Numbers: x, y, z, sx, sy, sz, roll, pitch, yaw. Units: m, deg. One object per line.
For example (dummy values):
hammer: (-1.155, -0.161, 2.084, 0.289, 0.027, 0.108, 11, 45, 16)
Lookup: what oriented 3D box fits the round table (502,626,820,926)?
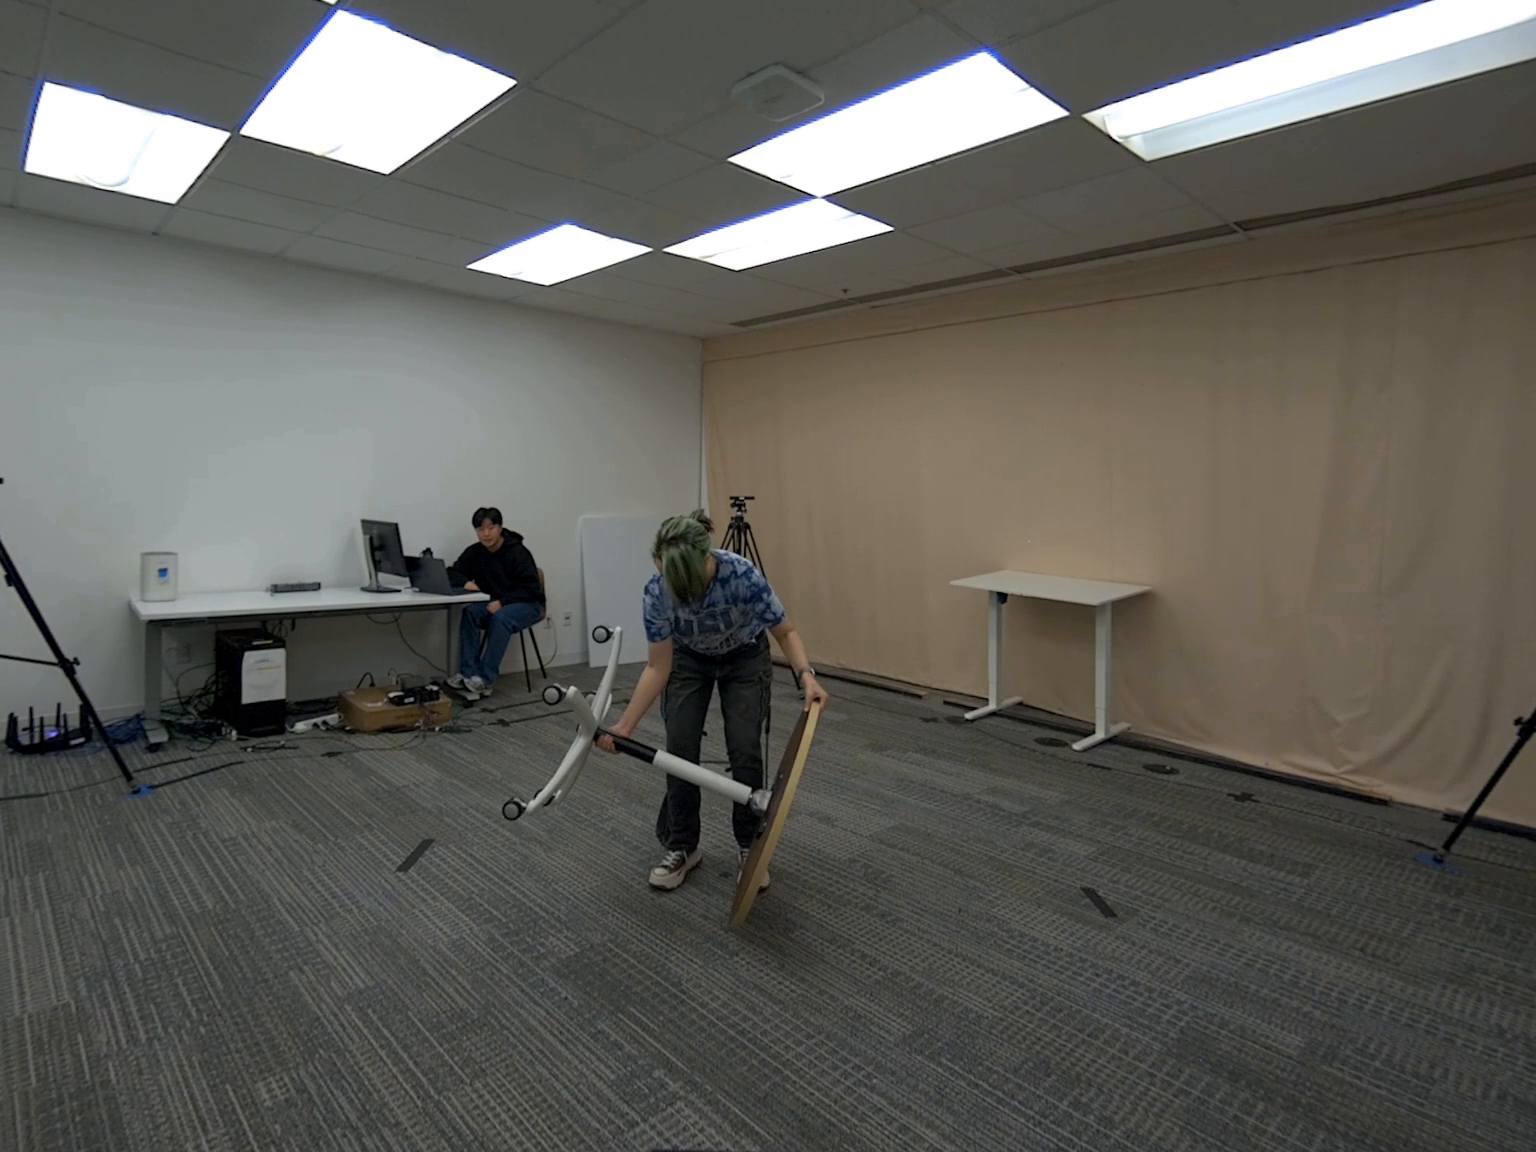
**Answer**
round table: (-0.346, 0.625, 2.783, 0.798, 0.762, 0.762, 20, 6, 3)
